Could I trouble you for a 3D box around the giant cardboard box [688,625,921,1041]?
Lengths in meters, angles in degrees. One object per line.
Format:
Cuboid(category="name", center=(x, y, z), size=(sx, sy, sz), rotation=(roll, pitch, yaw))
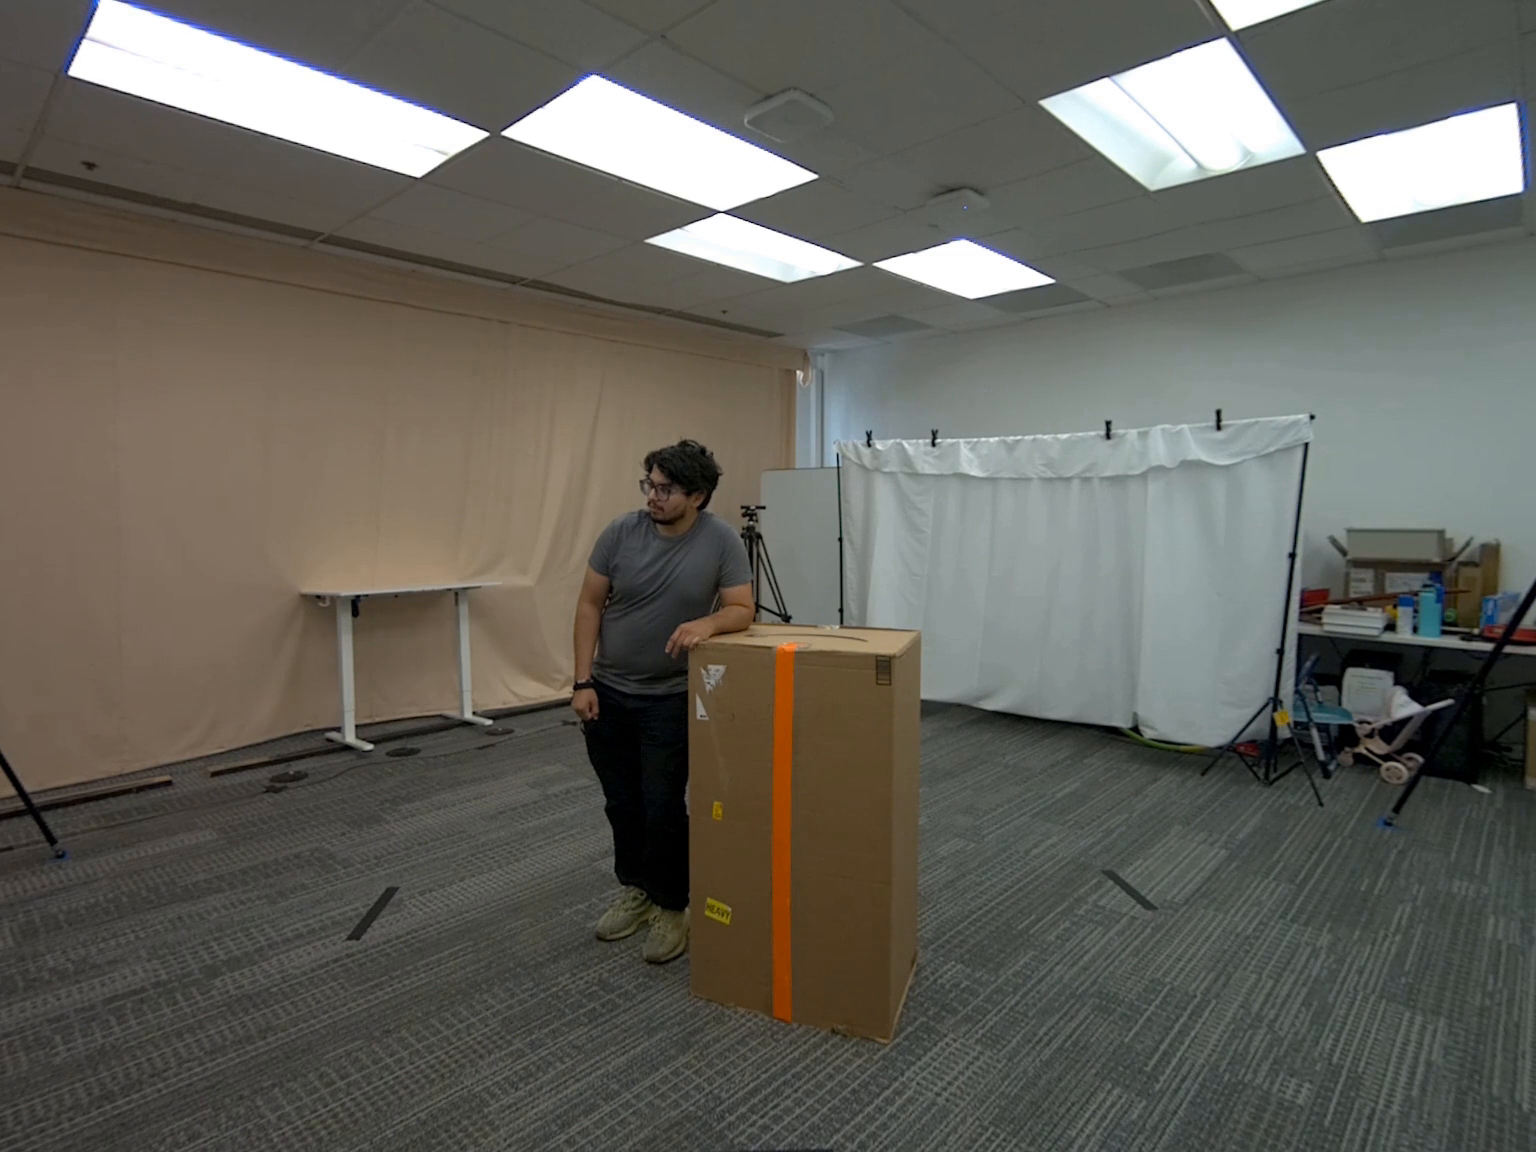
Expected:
Cuboid(category="giant cardboard box", center=(0.125, 0.682, 2.441), size=(0.591, 1.023, 0.417), rotation=(1, 4, 23))
